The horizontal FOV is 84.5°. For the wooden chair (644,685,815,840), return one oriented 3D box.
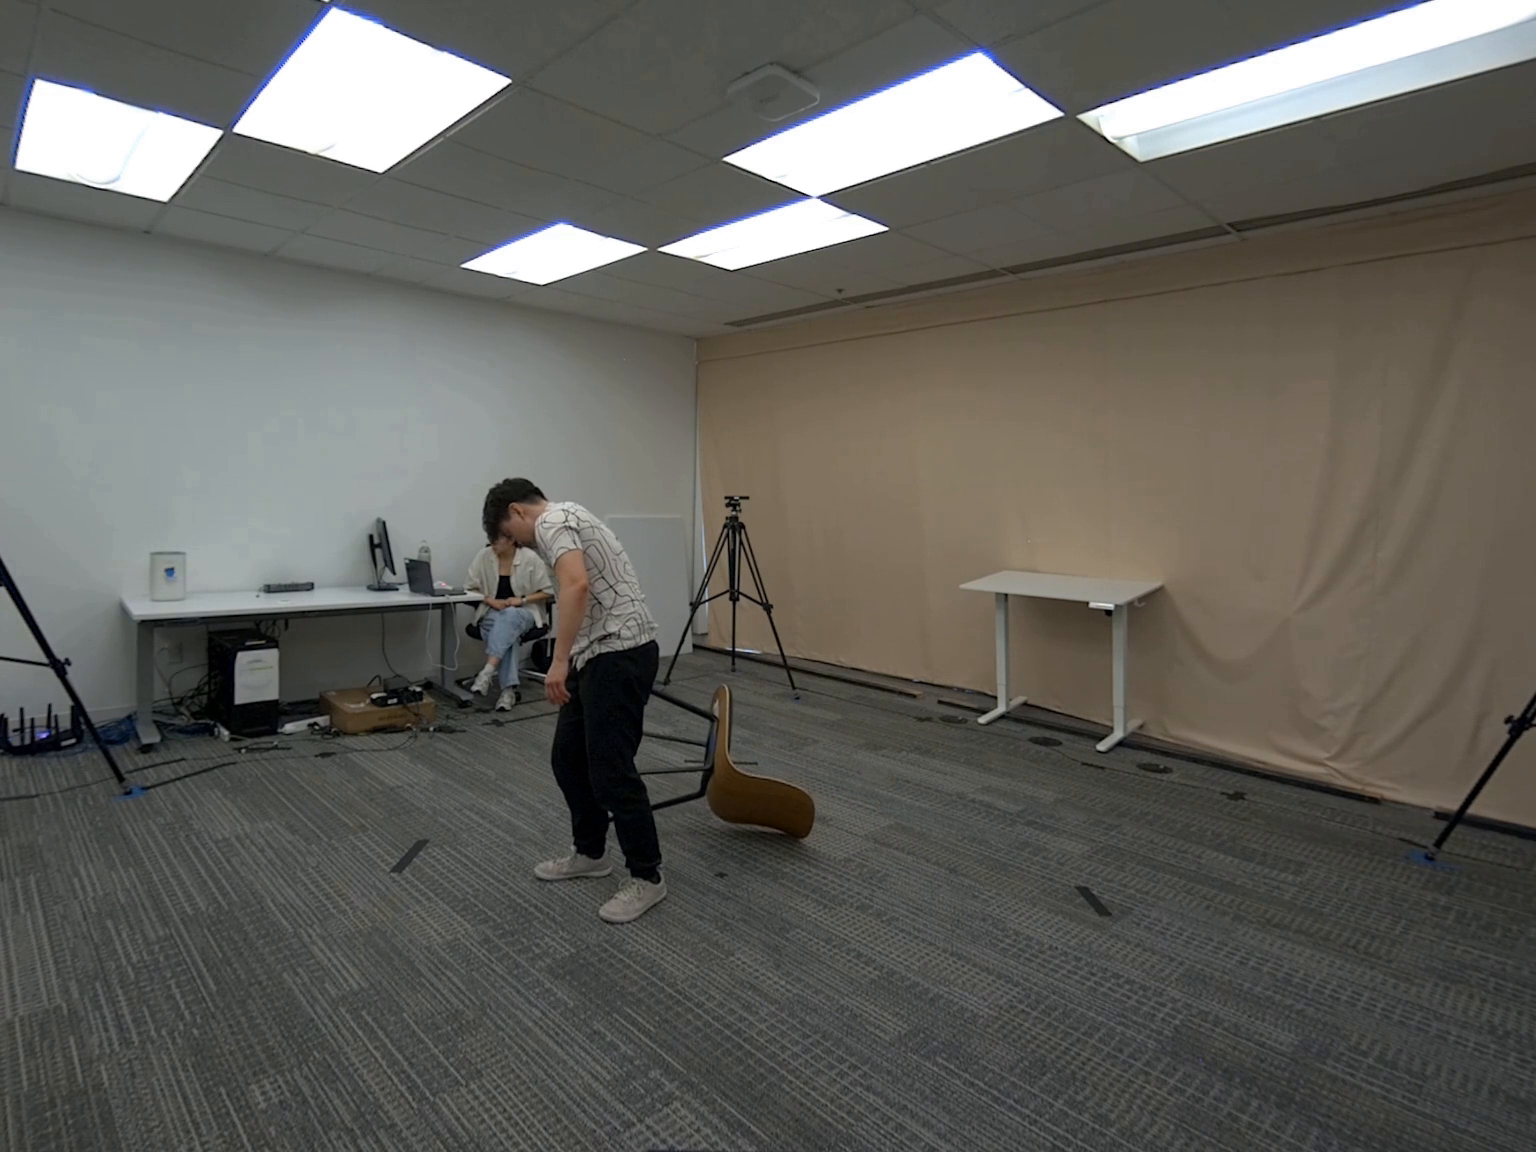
[{"bbox_3d":[-0.251,0.750,3.480,0.875,0.533,0.470,8,-42,-3],"label":"wooden chair"}]
